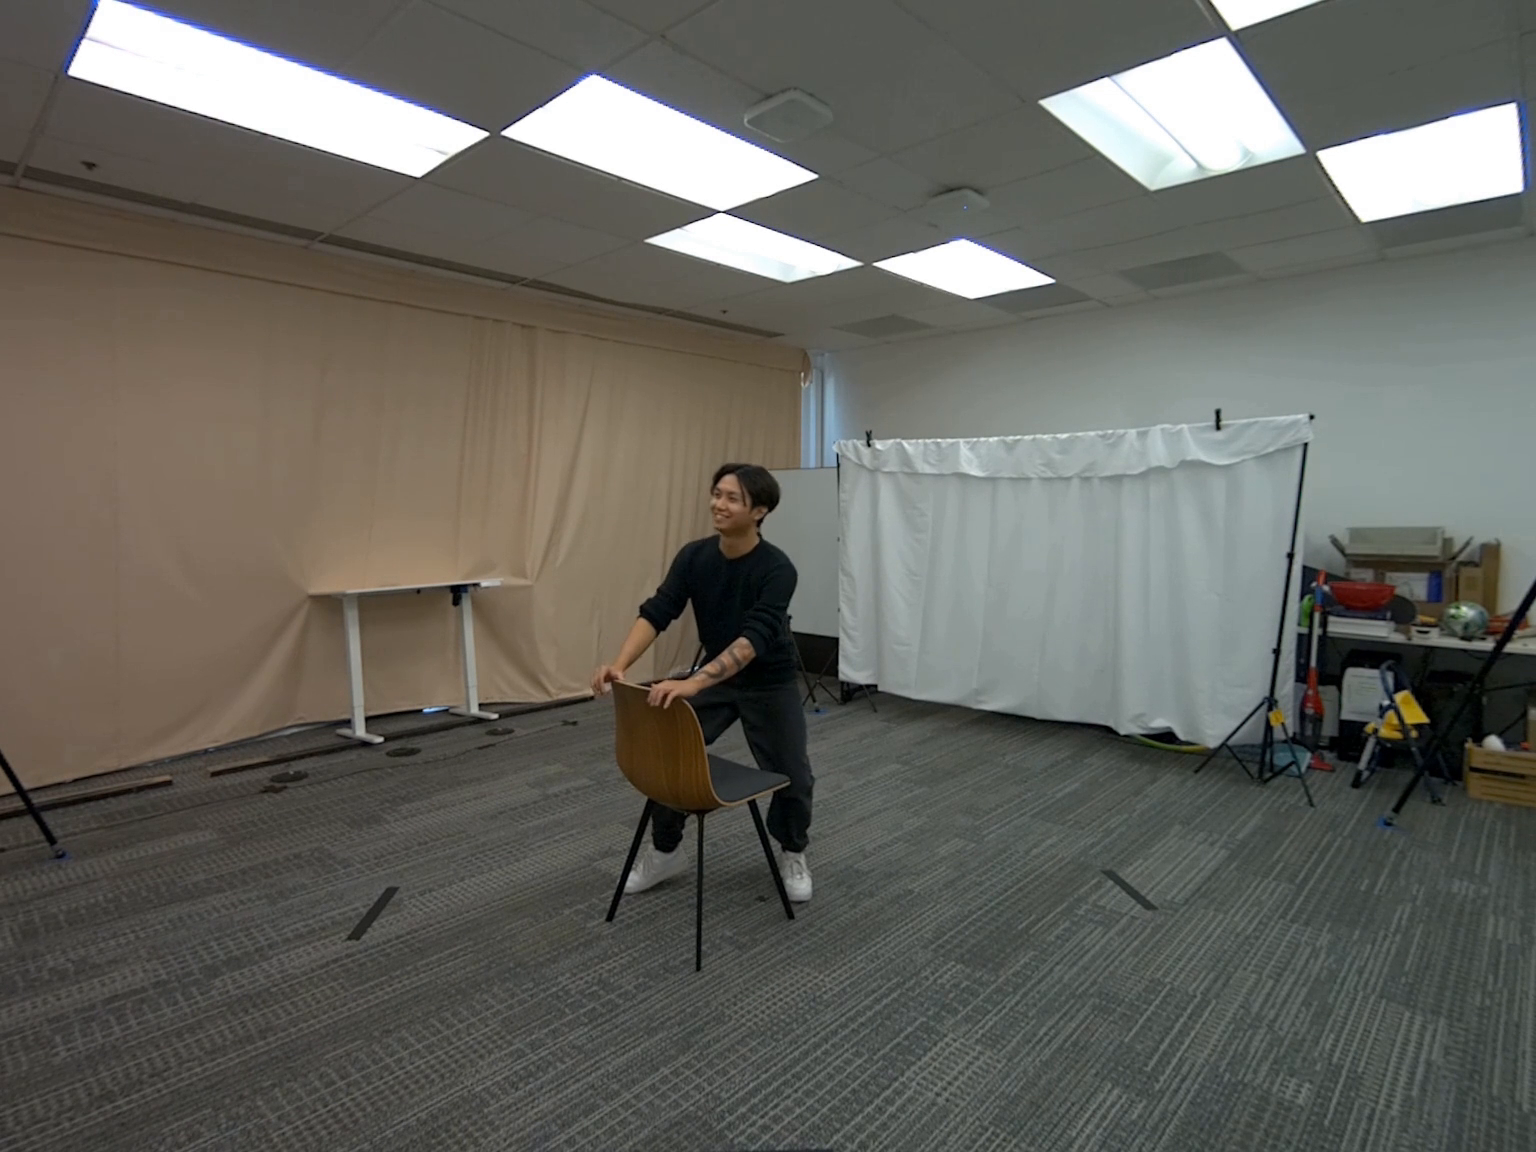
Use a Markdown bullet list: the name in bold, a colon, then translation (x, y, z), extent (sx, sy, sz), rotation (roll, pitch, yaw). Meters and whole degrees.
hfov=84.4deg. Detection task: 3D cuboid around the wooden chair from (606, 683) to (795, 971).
- **wooden chair**: translation (-0.222, 0.729, 2.811), extent (0.494, 0.874, 0.508), rotation (2, 8, 43)
